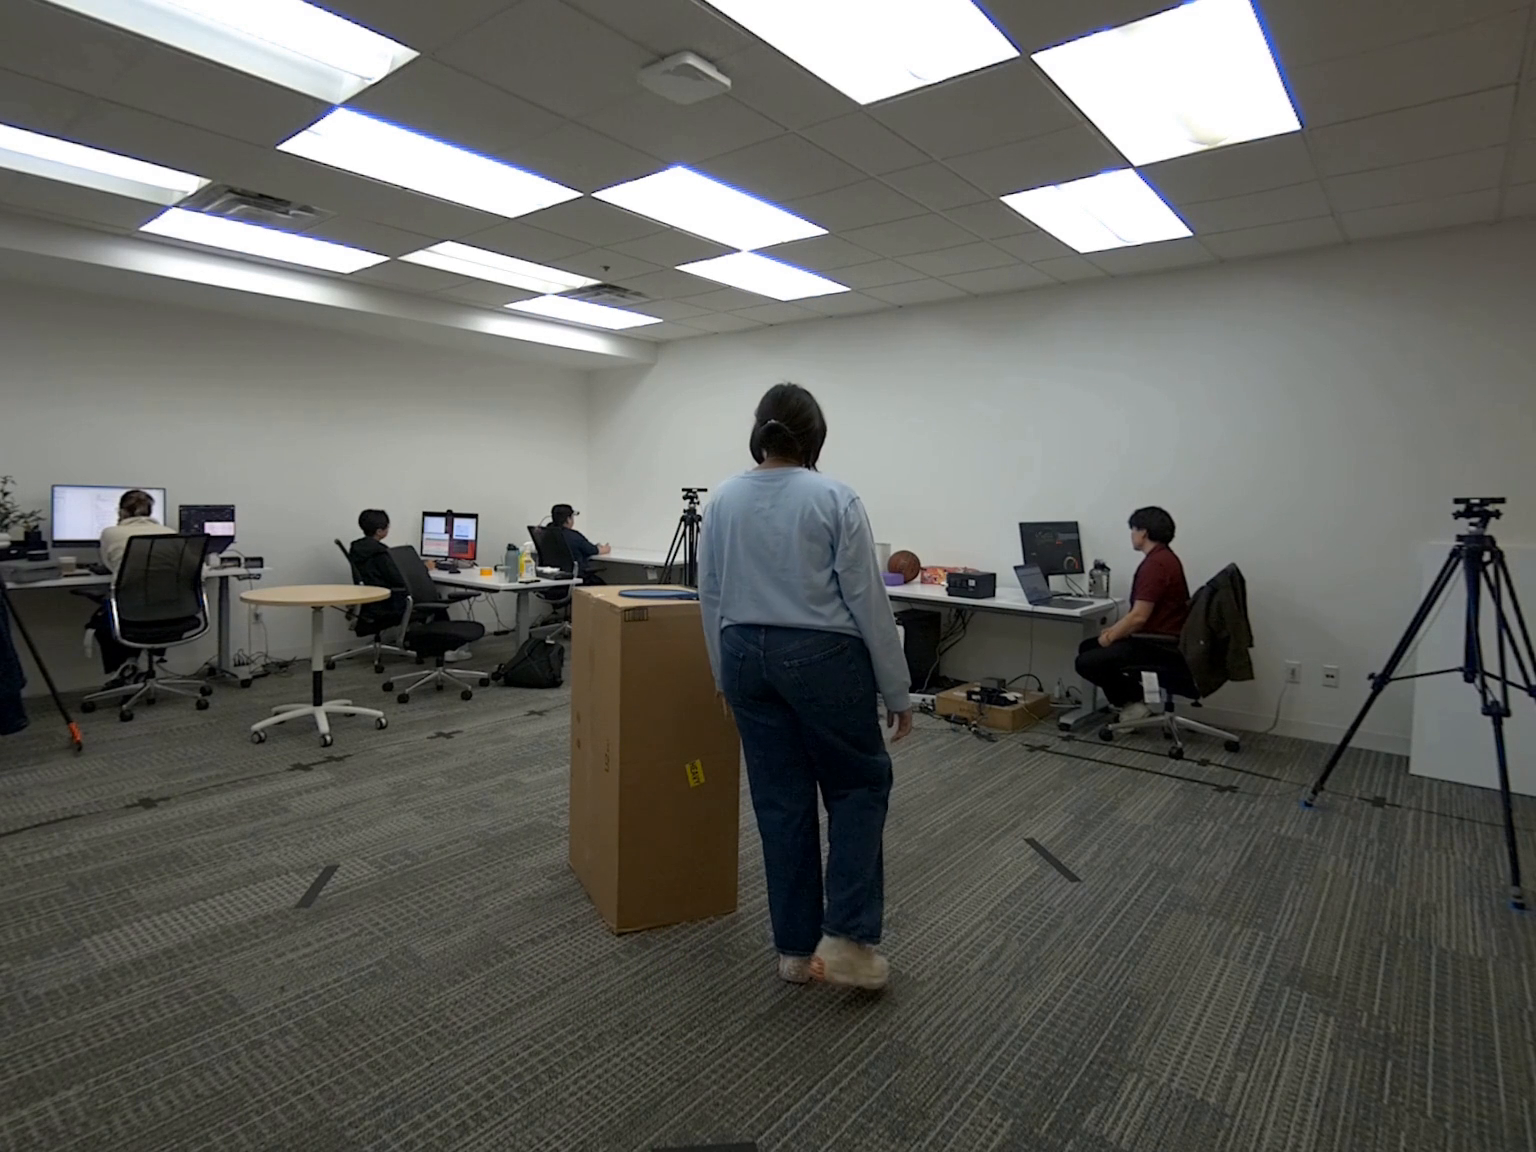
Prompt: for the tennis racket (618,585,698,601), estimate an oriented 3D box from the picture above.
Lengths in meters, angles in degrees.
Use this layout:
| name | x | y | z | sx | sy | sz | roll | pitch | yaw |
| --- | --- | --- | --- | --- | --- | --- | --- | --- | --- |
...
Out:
| name | x | y | z | sx | sy | sz | roll | pitch | yaw |
| --- | --- | --- | --- | --- | --- | --- | --- | --- | --- |
| tennis racket | -0.334 | 0.061 | 2.853 | 0.445 | 0.031 | 0.208 | 2 | 6 | 31 |
